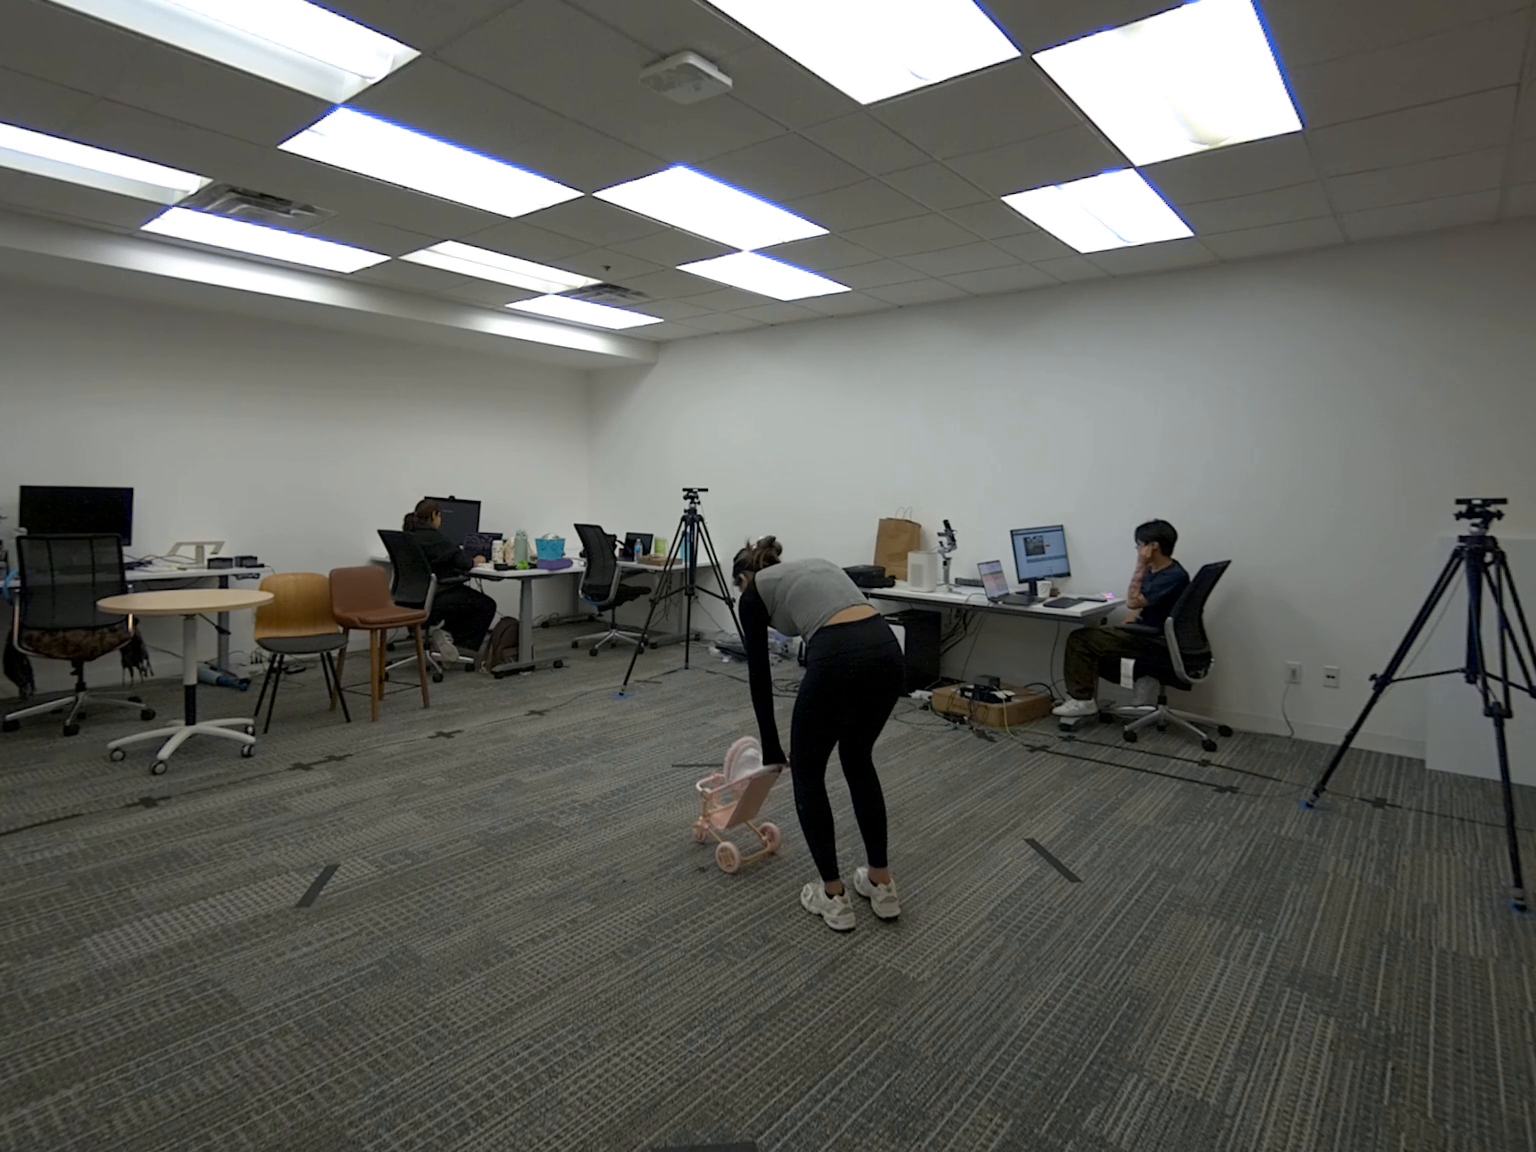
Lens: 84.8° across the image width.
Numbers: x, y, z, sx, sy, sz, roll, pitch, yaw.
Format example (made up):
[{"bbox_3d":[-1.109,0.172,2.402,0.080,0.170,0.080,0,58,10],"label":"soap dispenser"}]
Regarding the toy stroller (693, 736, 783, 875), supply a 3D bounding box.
[{"bbox_3d":[-0.121,0.836,3.214,0.355,0.530,0.273,26,18,40],"label":"toy stroller"}]
